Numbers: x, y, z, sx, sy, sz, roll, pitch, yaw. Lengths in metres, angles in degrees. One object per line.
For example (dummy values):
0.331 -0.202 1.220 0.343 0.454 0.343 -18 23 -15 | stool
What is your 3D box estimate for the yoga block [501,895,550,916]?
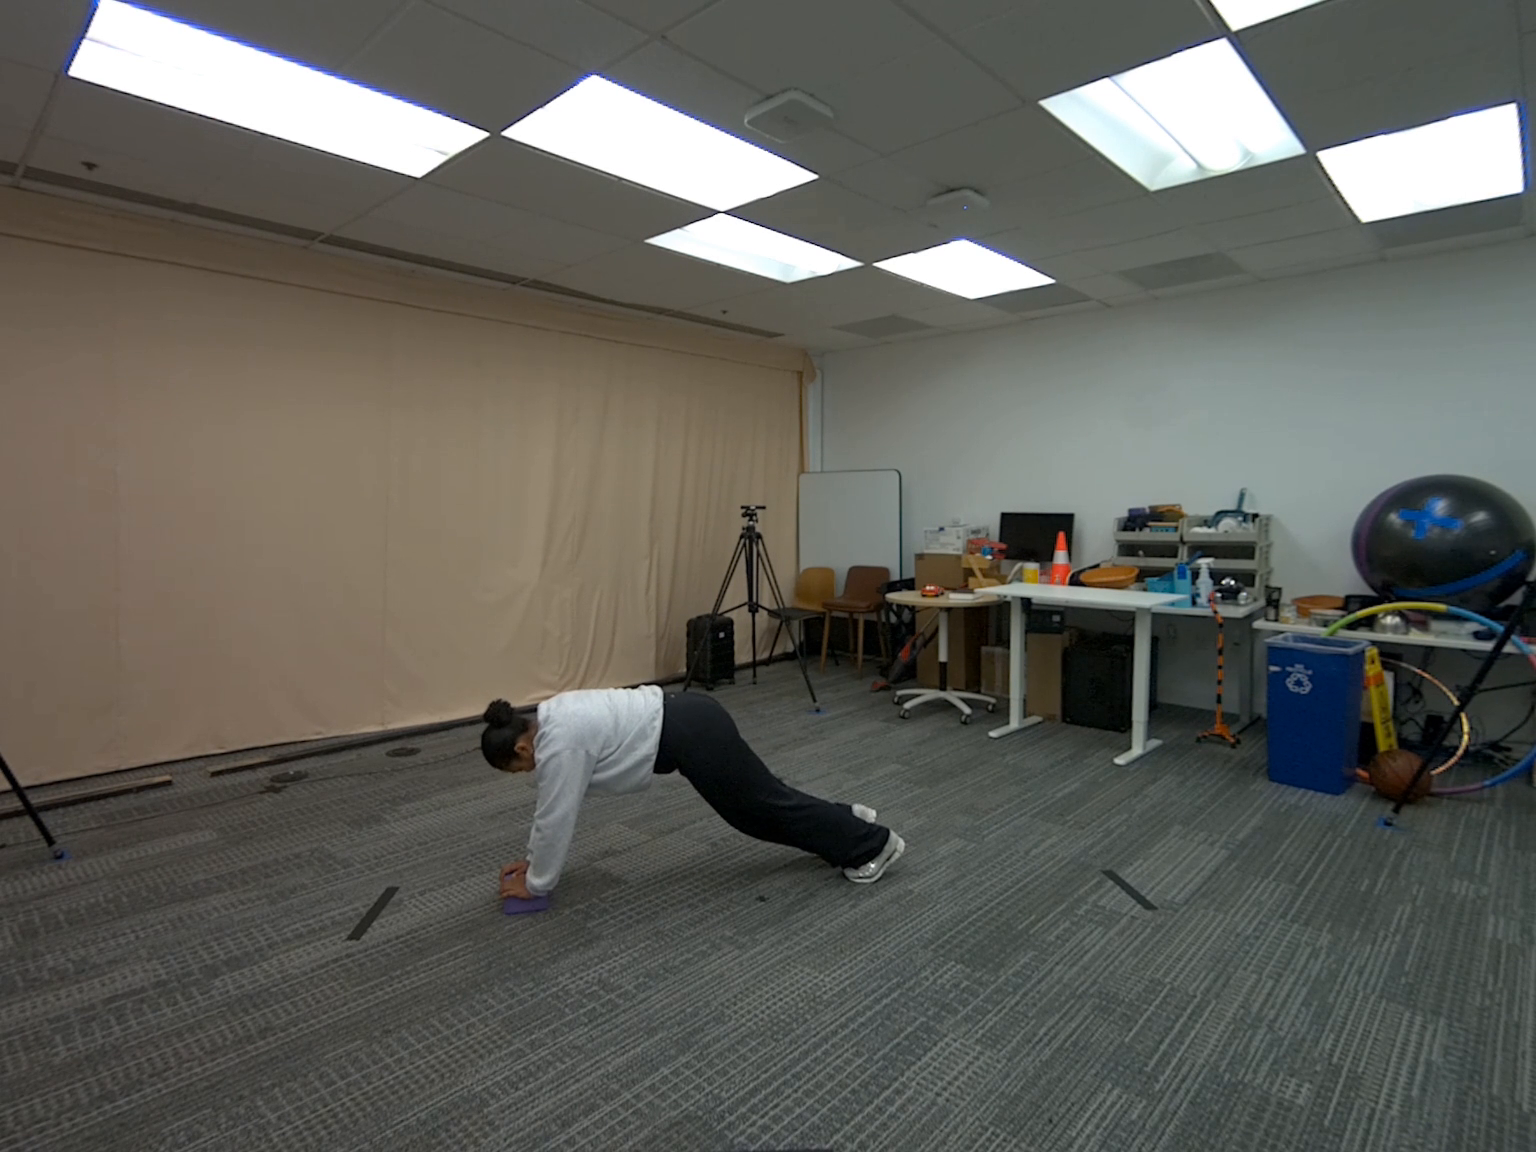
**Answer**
-0.867 1.123 2.996 0.146 0.076 0.234 0 5 -16 | yoga block
